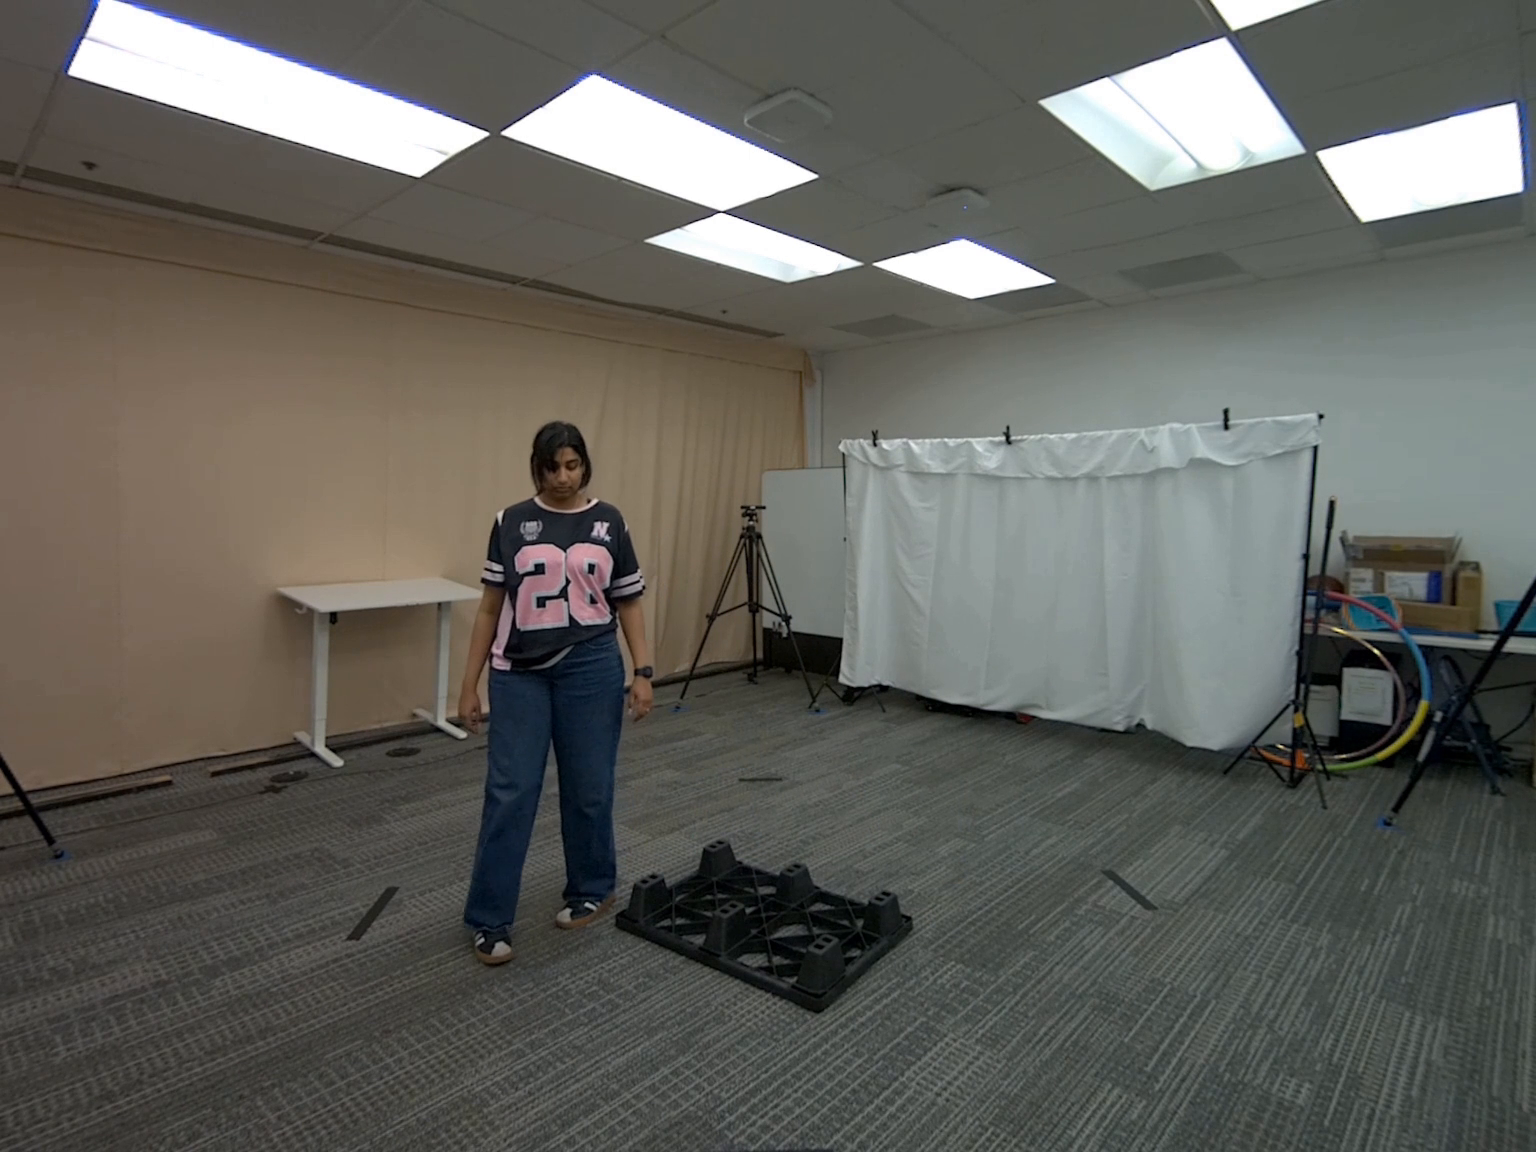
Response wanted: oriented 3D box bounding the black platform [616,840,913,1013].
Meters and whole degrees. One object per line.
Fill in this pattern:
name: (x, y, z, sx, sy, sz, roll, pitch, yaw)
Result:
black platform: (-0.017, 1.099, 2.769, 0.831, 0.143, 0.587, 3, 6, 36)
